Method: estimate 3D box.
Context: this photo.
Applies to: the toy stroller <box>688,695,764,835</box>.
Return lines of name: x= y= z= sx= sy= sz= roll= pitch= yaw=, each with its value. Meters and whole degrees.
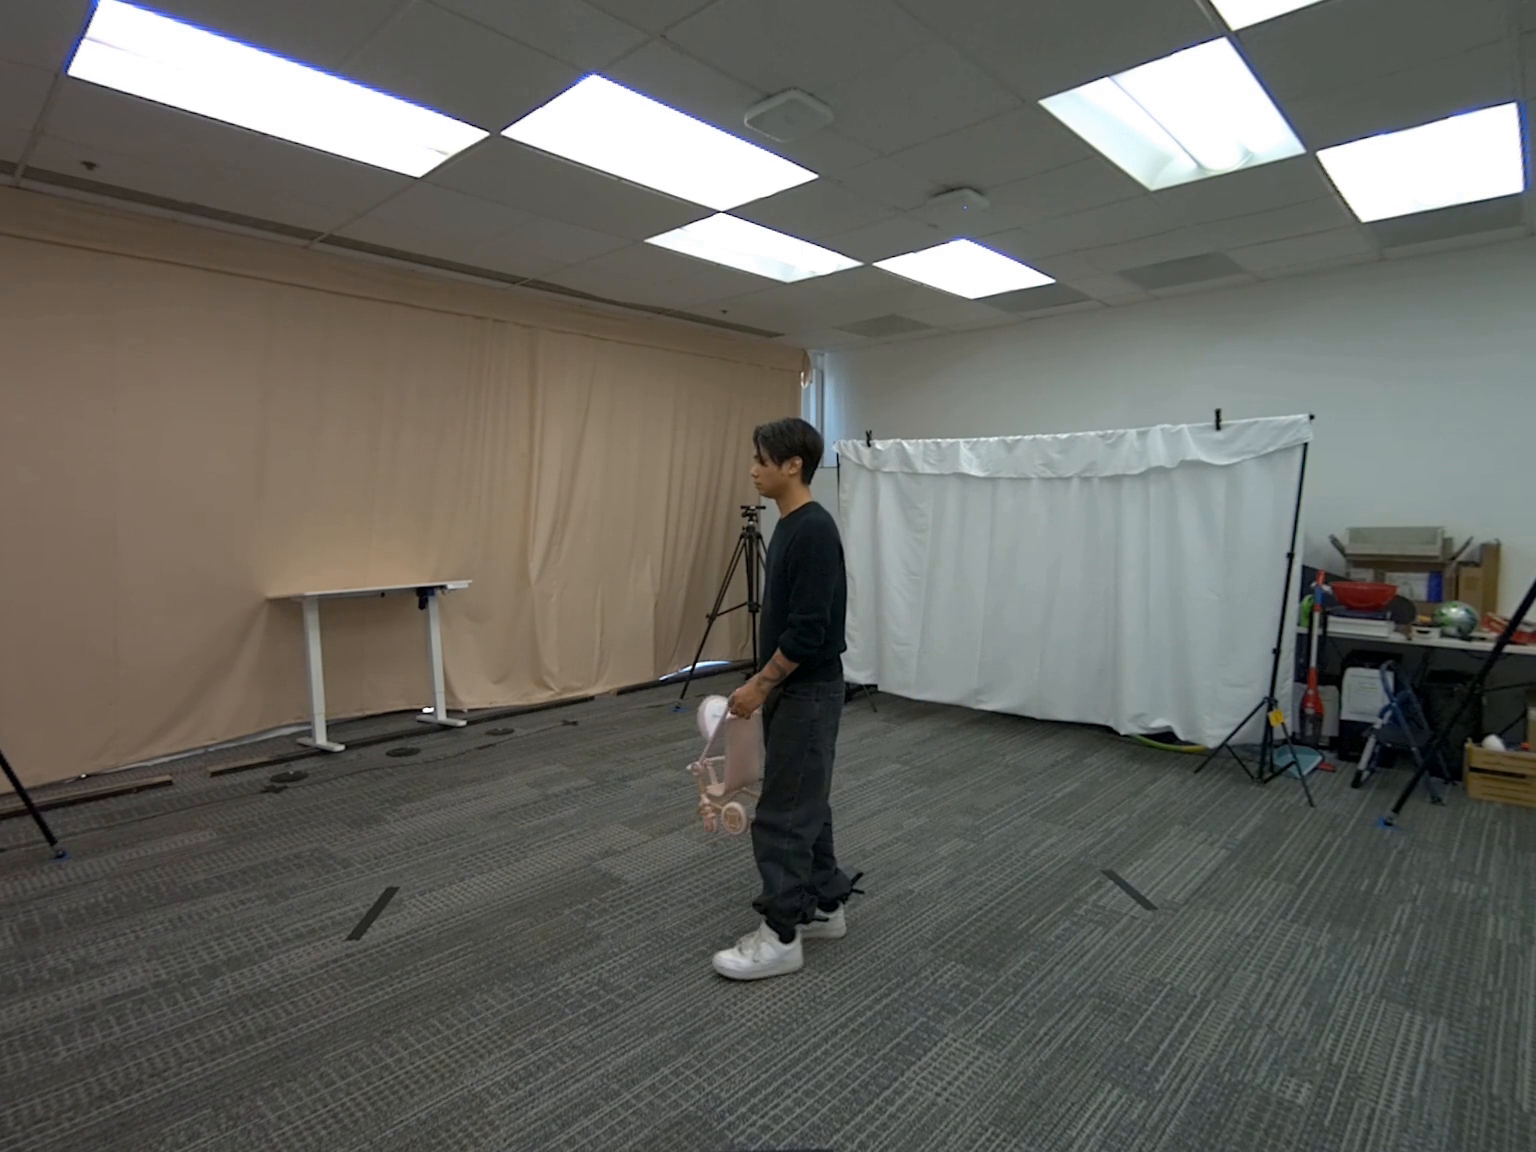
toy stroller: x=-0.127 y=0.665 z=2.978 sx=0.273 sy=0.536 sz=0.351 roll=-4 pitch=-5 yaw=-45
